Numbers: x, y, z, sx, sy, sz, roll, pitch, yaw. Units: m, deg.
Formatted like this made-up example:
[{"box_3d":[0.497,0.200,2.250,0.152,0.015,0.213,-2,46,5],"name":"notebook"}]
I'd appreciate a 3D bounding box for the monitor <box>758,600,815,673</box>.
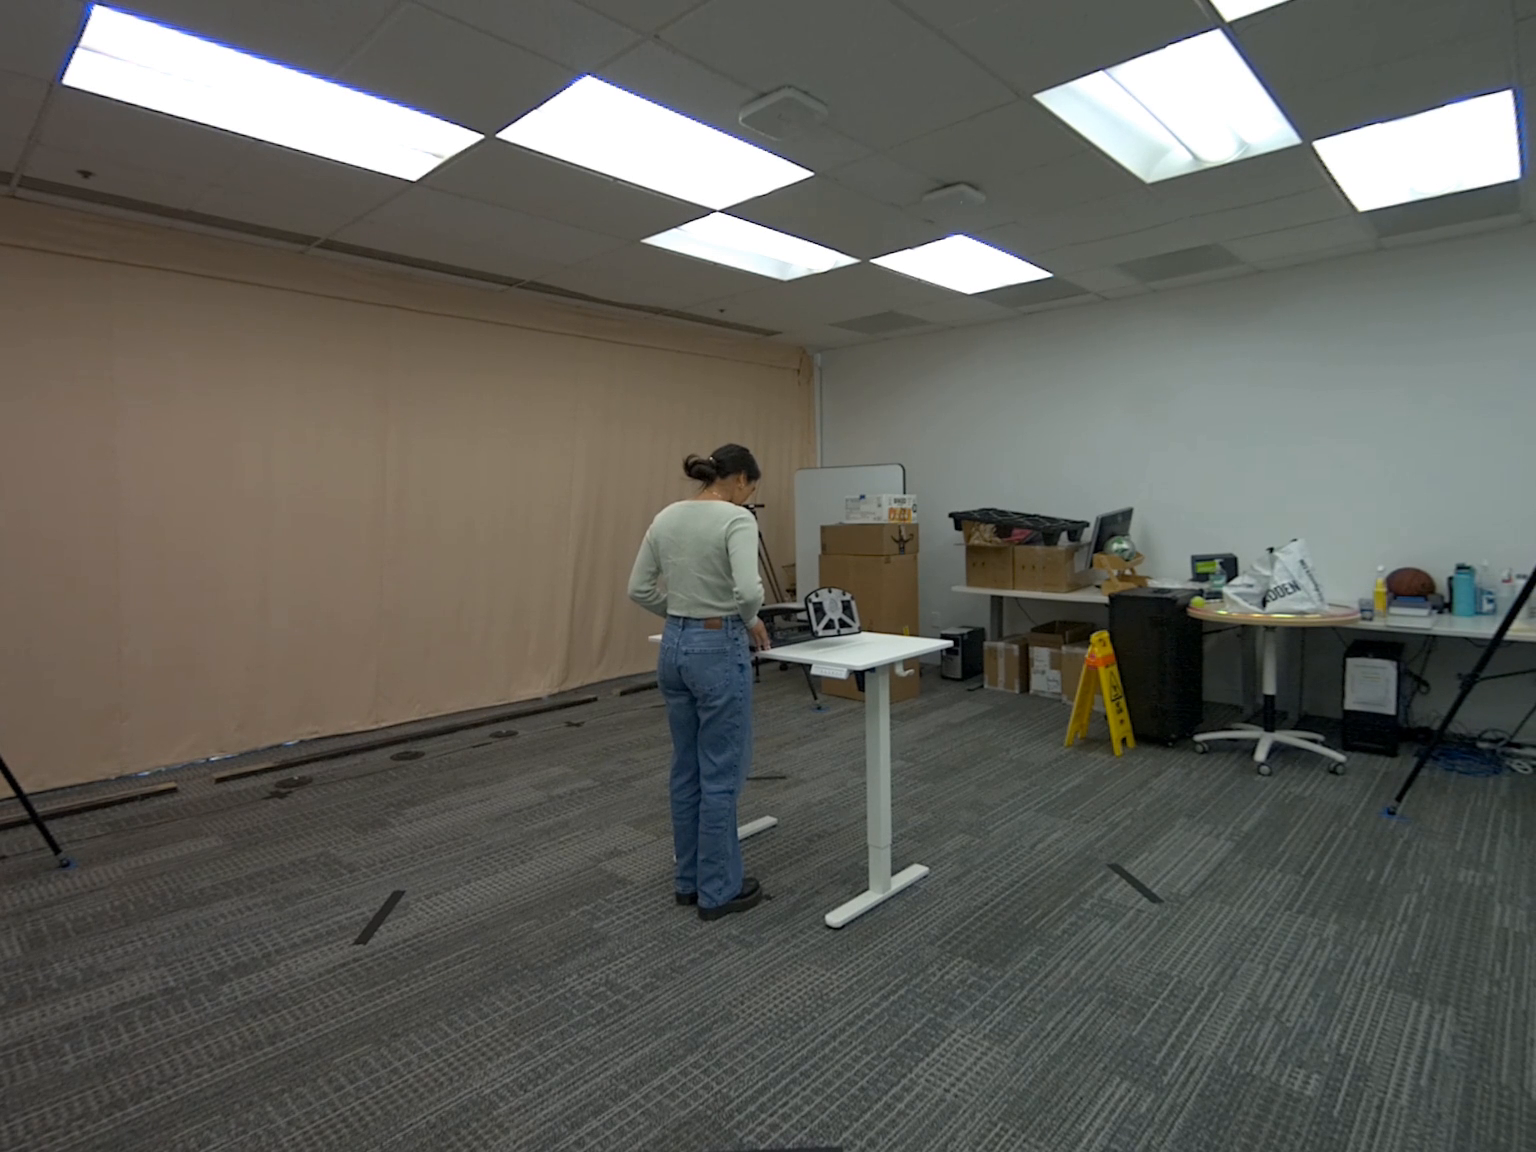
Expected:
[{"box_3d":[0.062,0.182,3.155,0.536,0.188,0.522,-16,-10,43],"name":"monitor"}]
